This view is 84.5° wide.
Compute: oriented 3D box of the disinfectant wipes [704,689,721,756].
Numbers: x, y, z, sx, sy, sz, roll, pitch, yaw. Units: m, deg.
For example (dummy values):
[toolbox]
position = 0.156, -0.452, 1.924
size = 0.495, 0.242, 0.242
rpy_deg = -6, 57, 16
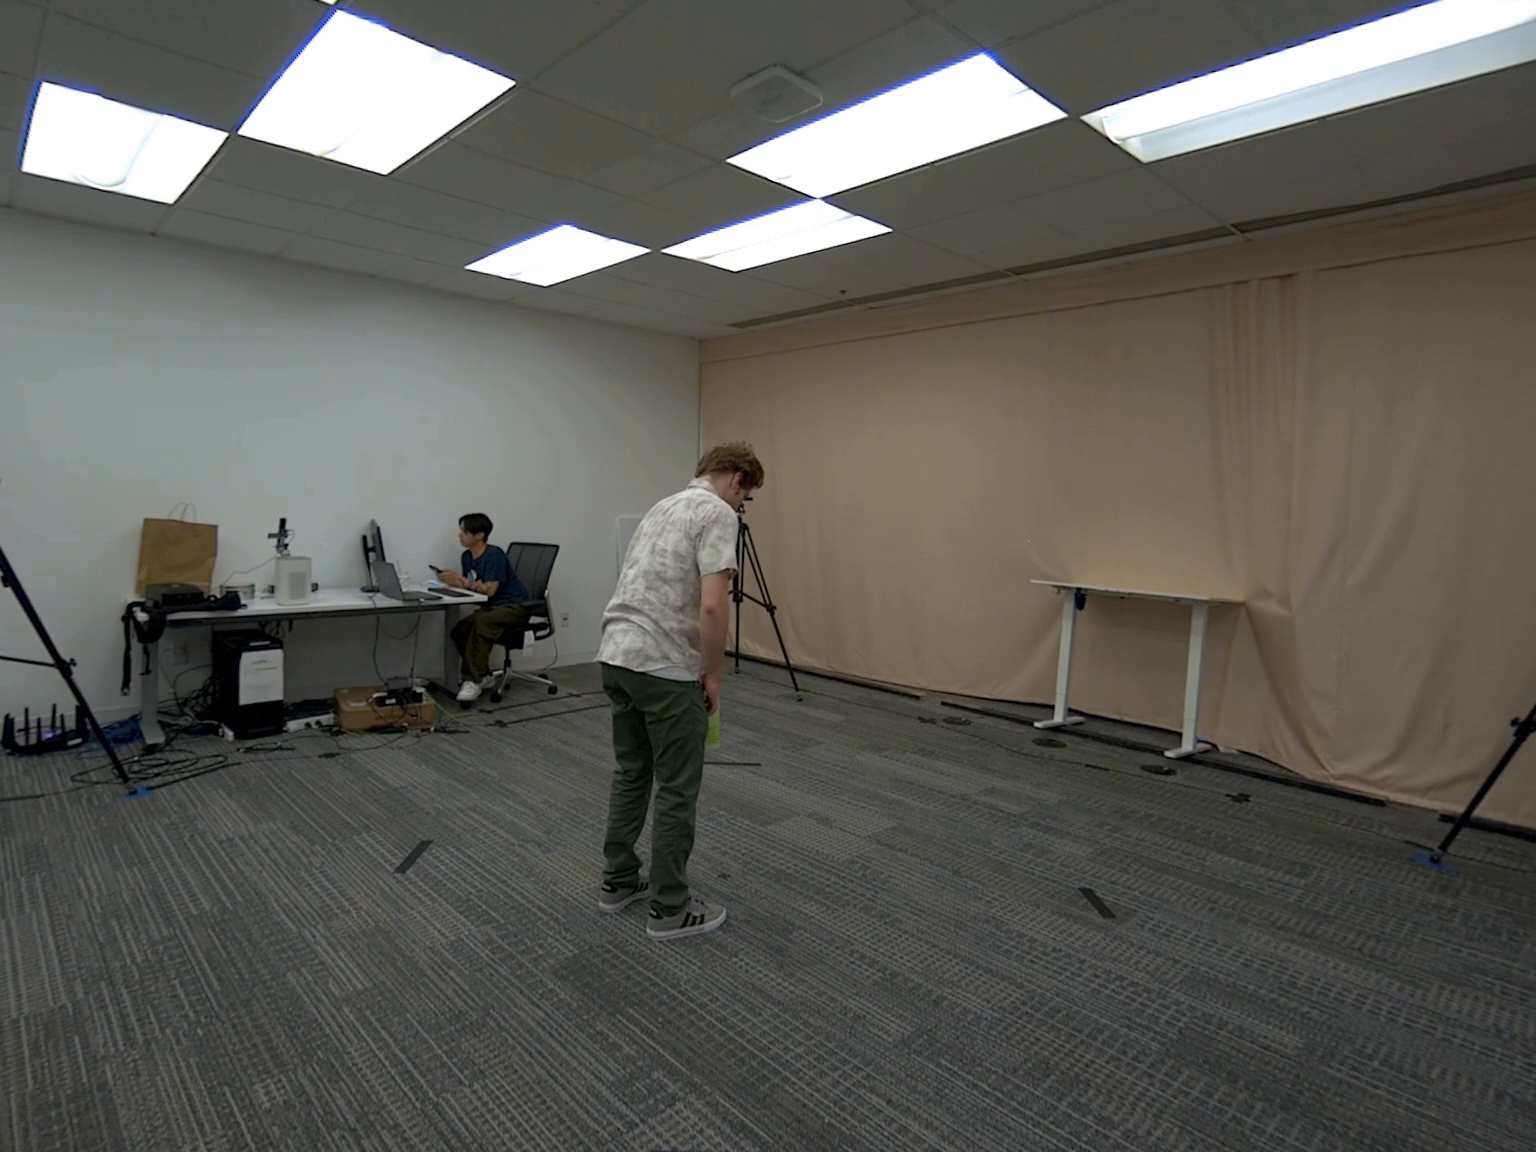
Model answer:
[disinfectant wipes]
position = -0.234, 0.529, 3.077
size = 0.118, 0.218, 0.117
rpy_deg = 0, -3, -1
